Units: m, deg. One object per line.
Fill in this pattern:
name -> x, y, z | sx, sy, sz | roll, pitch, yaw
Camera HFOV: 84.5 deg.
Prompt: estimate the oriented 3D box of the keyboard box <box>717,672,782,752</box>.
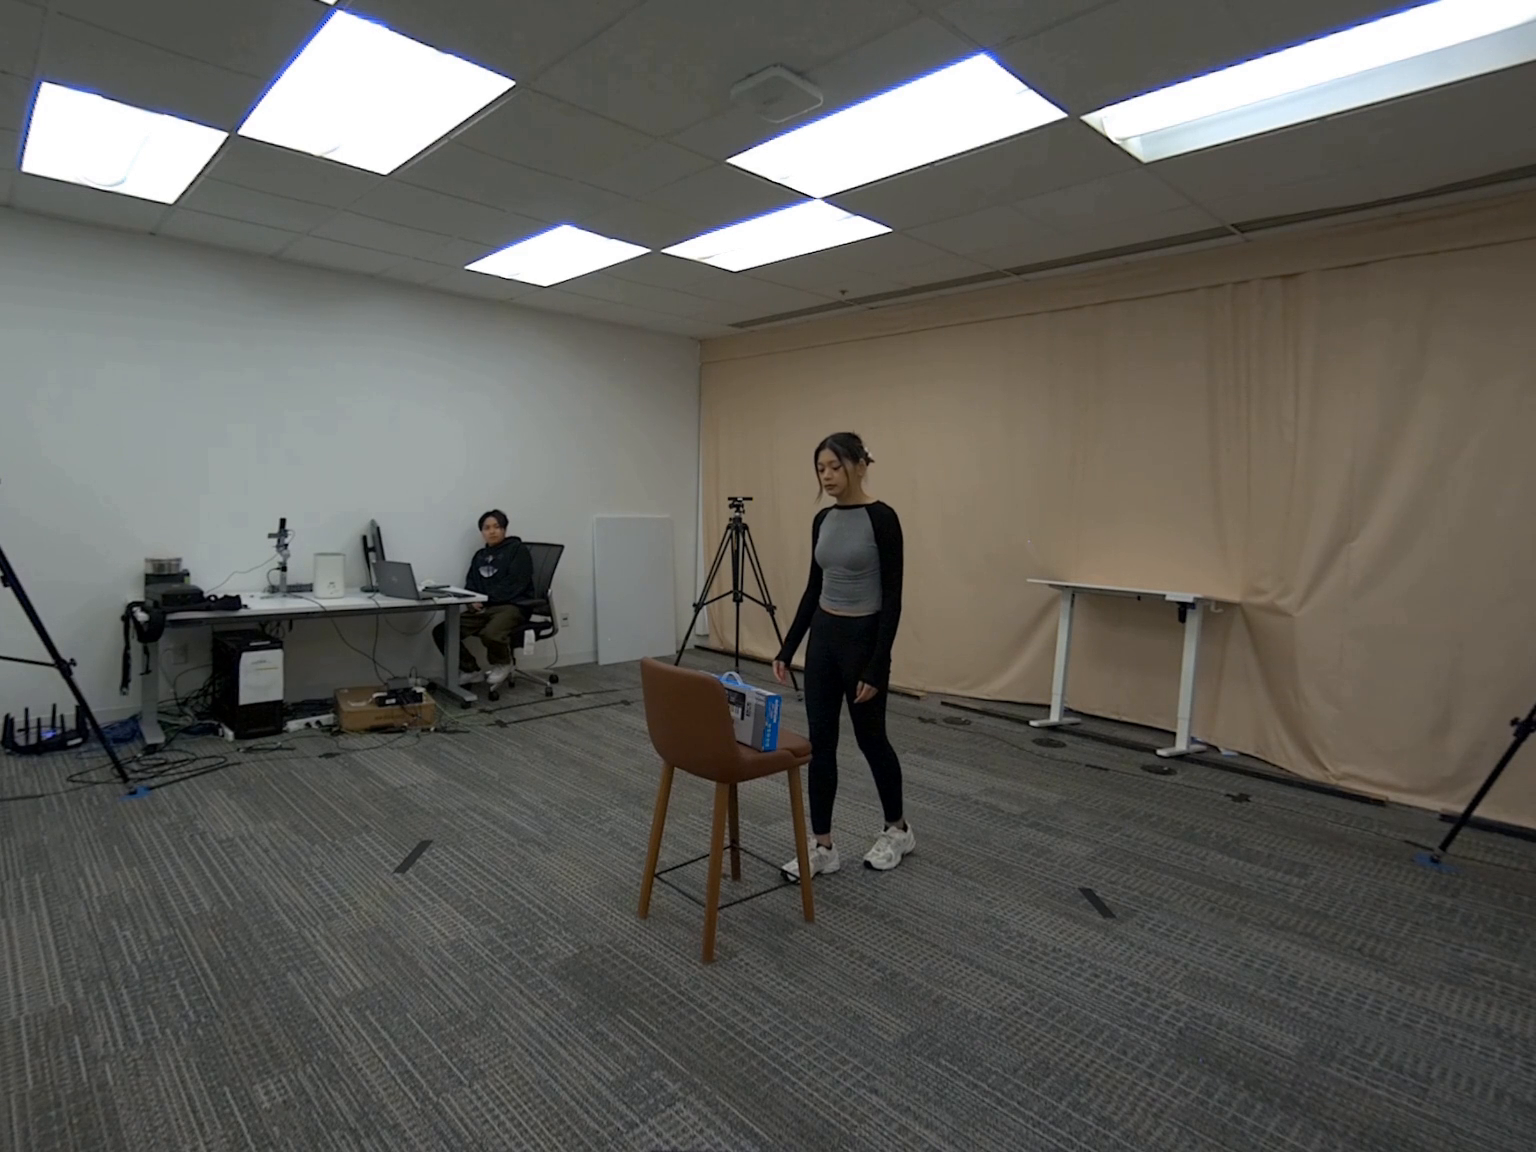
keyboard box -> -0.131, 0.438, 2.771 | 0.057, 0.176, 0.448 | 5, 2, -39
